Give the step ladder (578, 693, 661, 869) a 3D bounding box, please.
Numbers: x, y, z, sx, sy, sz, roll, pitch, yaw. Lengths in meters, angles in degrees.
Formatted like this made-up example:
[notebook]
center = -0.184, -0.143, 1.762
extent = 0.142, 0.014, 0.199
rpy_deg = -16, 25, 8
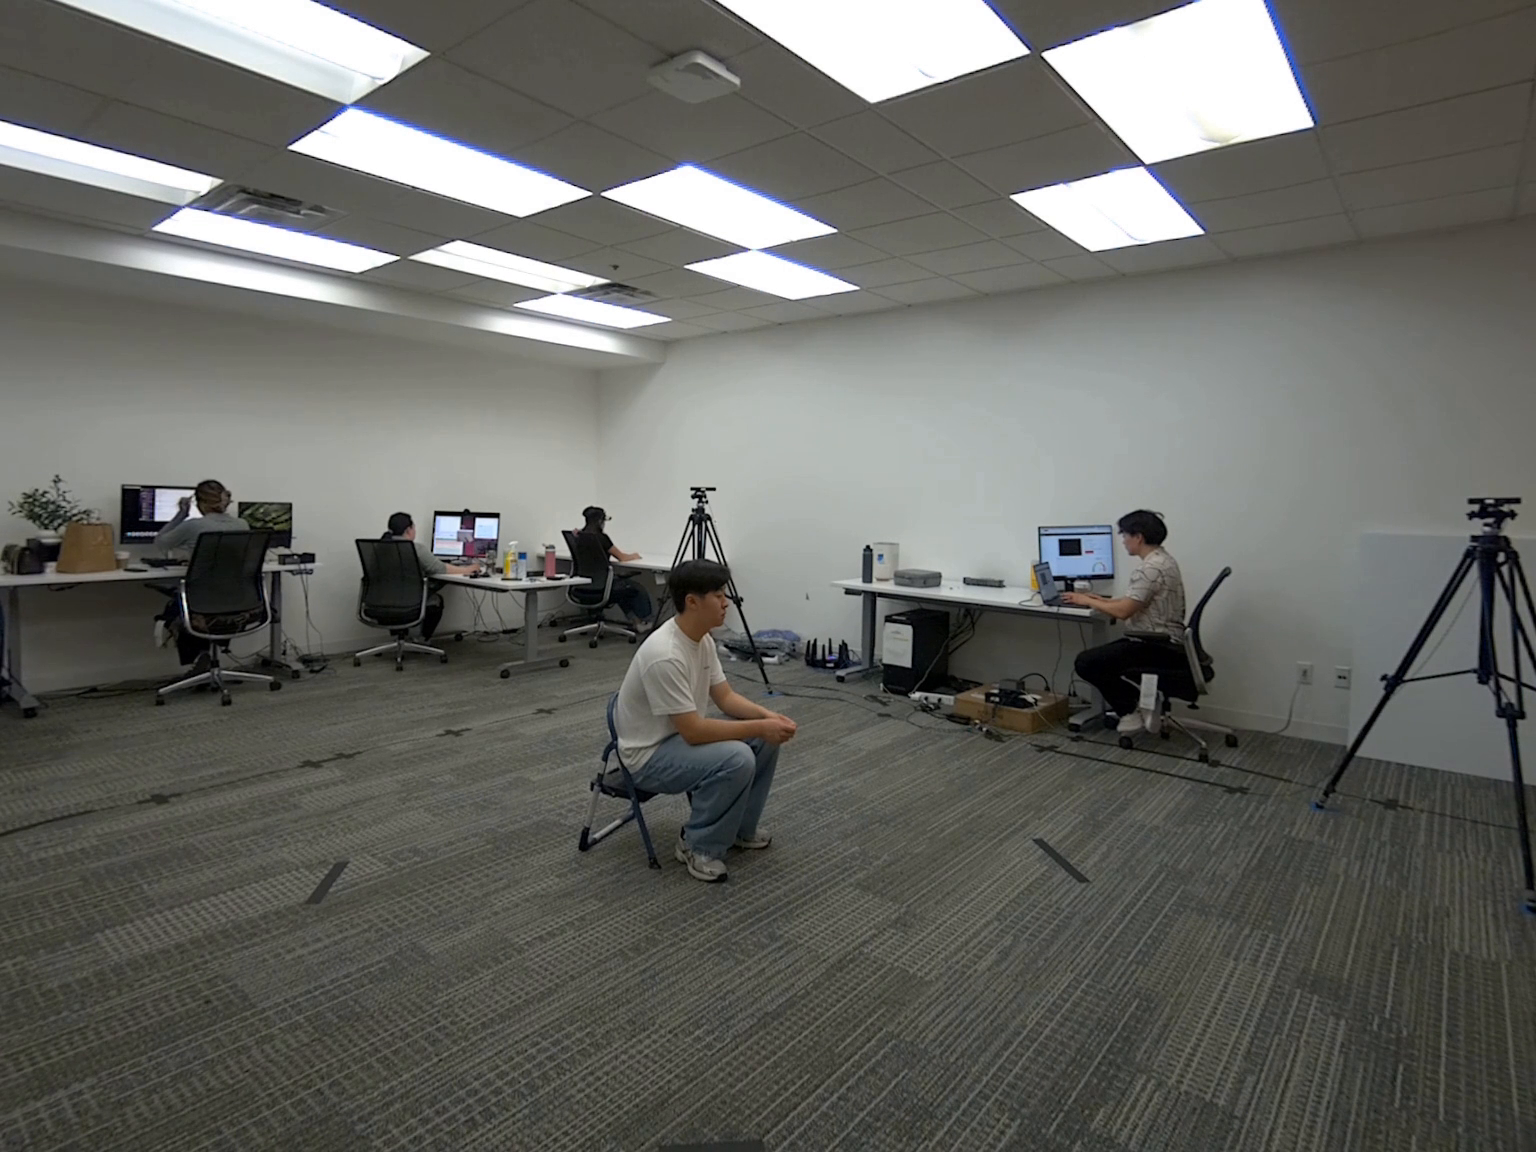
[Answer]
[step ladder]
center = -0.501, 0.739, 3.348
extent = 0.358, 0.605, 0.421
rpy_deg = 2, 3, 22
